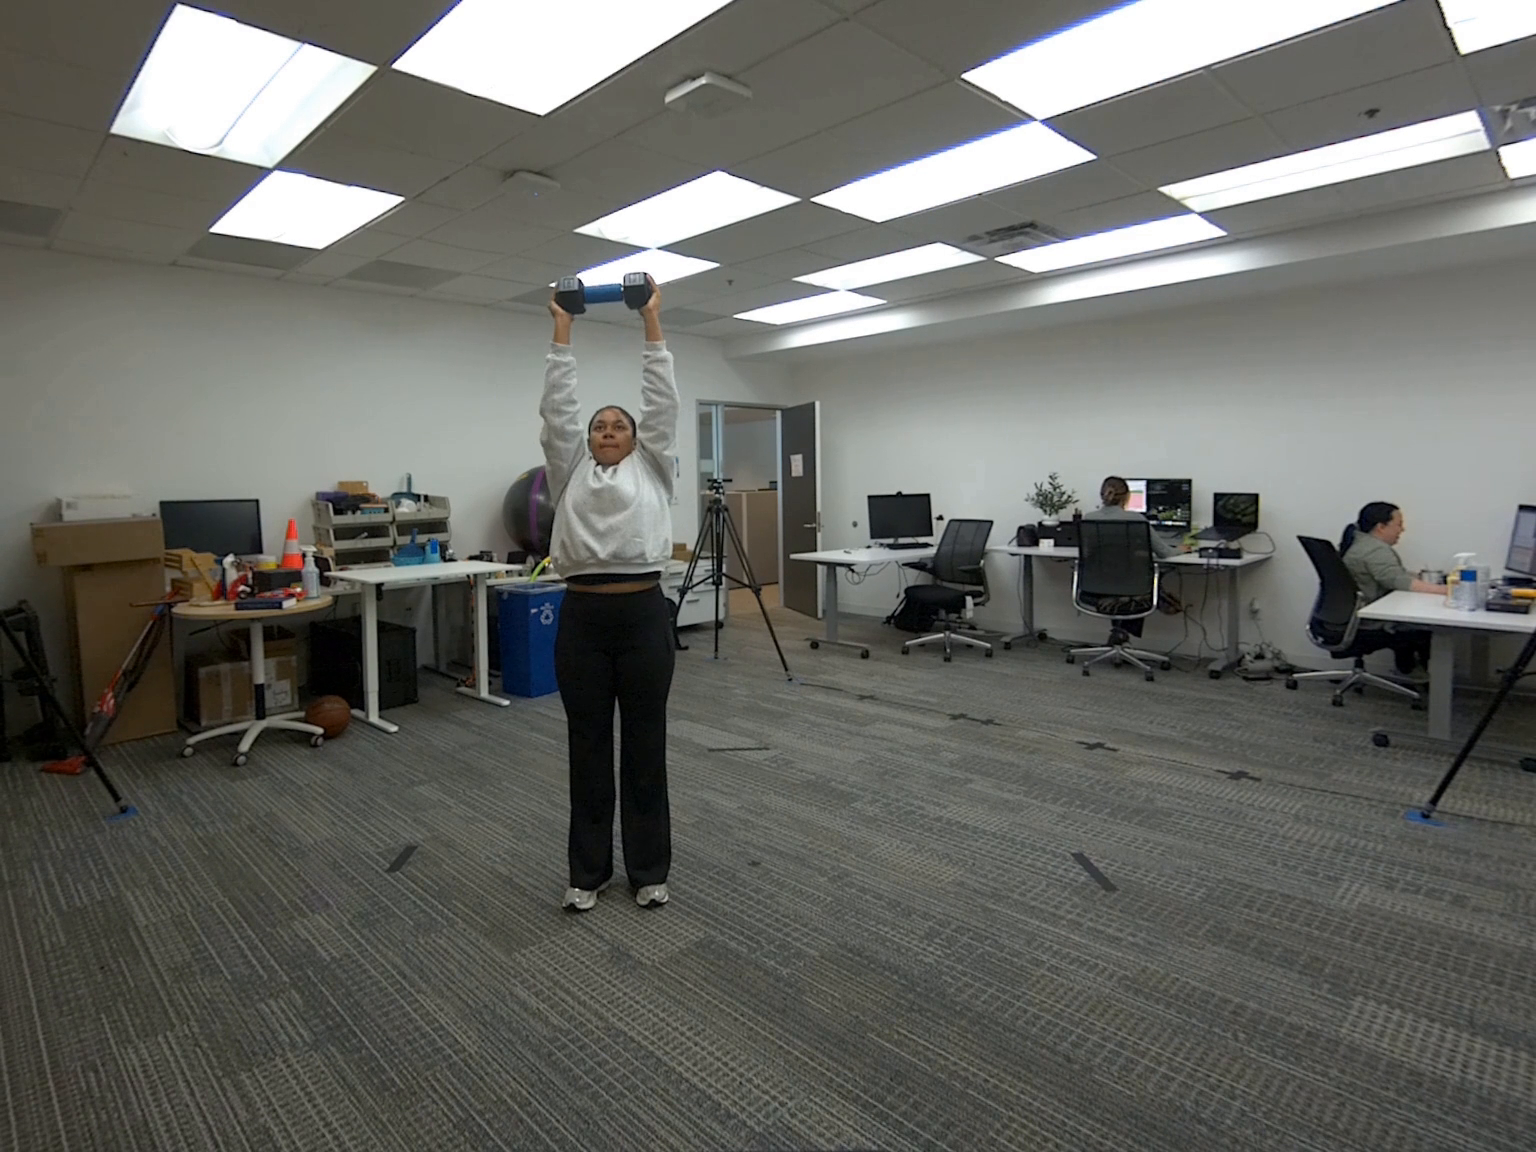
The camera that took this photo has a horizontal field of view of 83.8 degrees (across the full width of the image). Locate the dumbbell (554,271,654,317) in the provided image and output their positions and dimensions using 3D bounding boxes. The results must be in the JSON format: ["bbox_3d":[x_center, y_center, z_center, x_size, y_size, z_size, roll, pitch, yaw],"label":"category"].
[{"bbox_3d":[-0.526,-0.904,2.747,0.295,0.119,0.111,-4,38,4],"label":"dumbbell"}]
